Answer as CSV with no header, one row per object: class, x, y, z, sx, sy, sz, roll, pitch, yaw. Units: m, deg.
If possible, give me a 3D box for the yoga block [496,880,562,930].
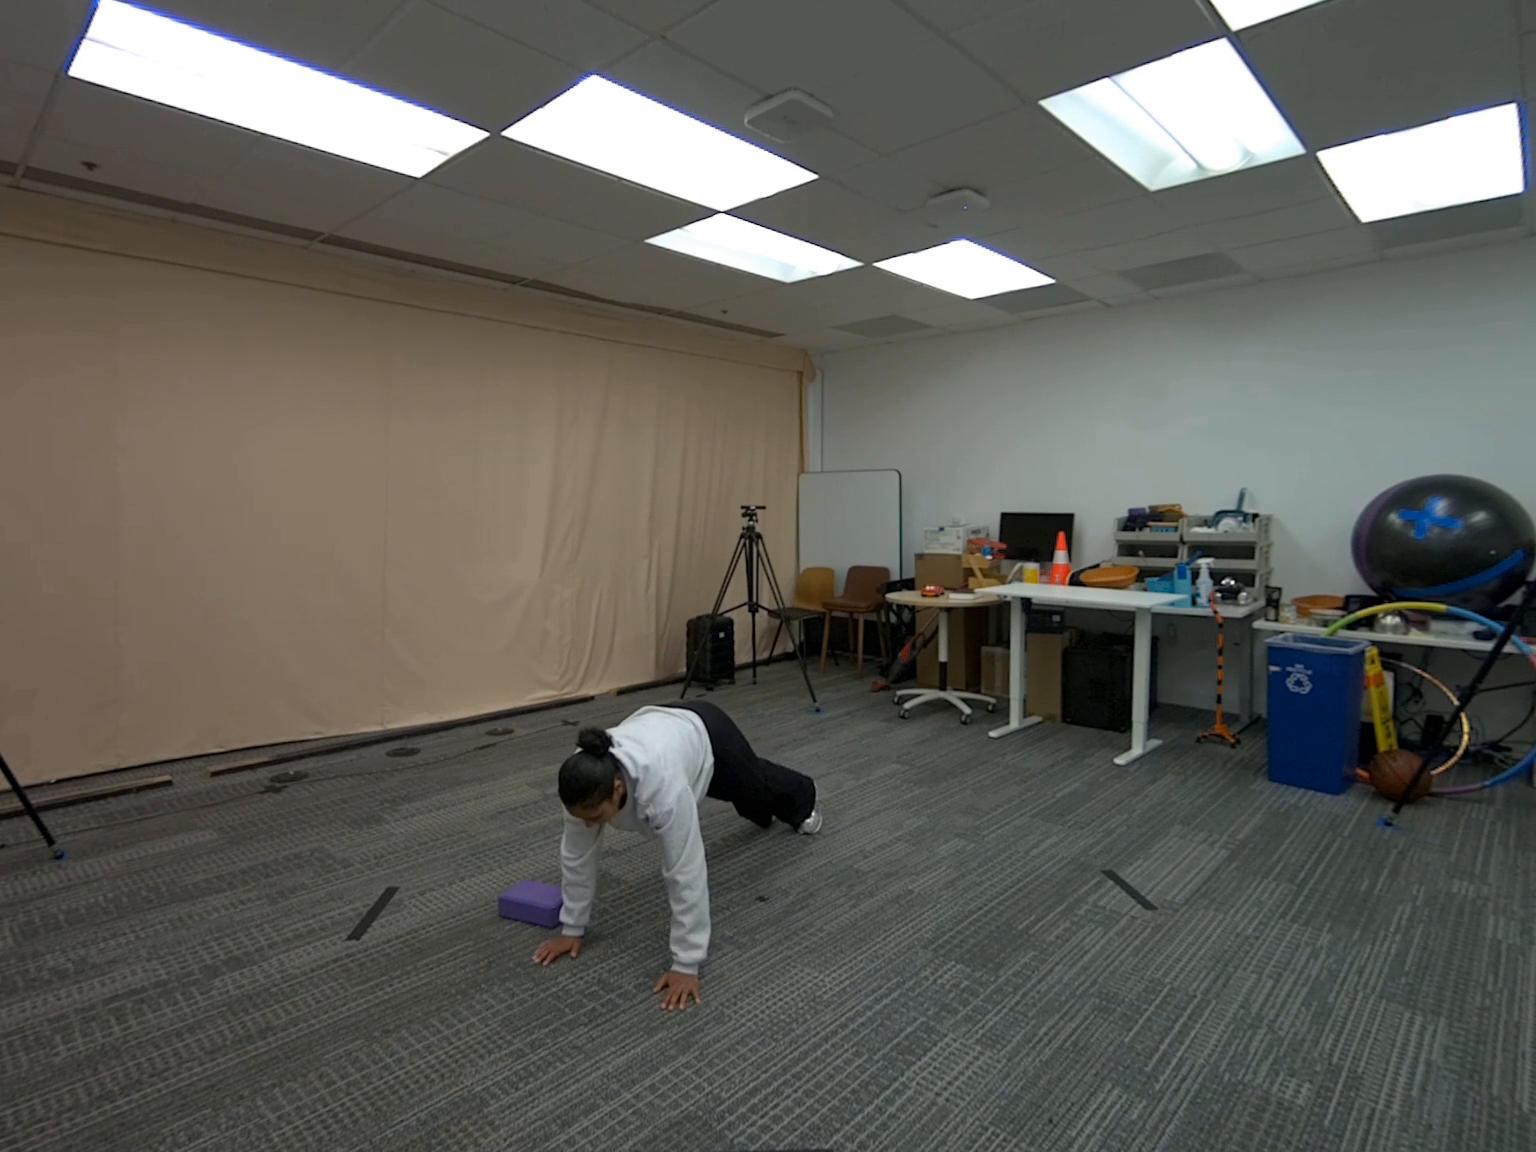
yoga block,-0.793,1.121,2.875,0.235,0.076,0.146,1,6,23
